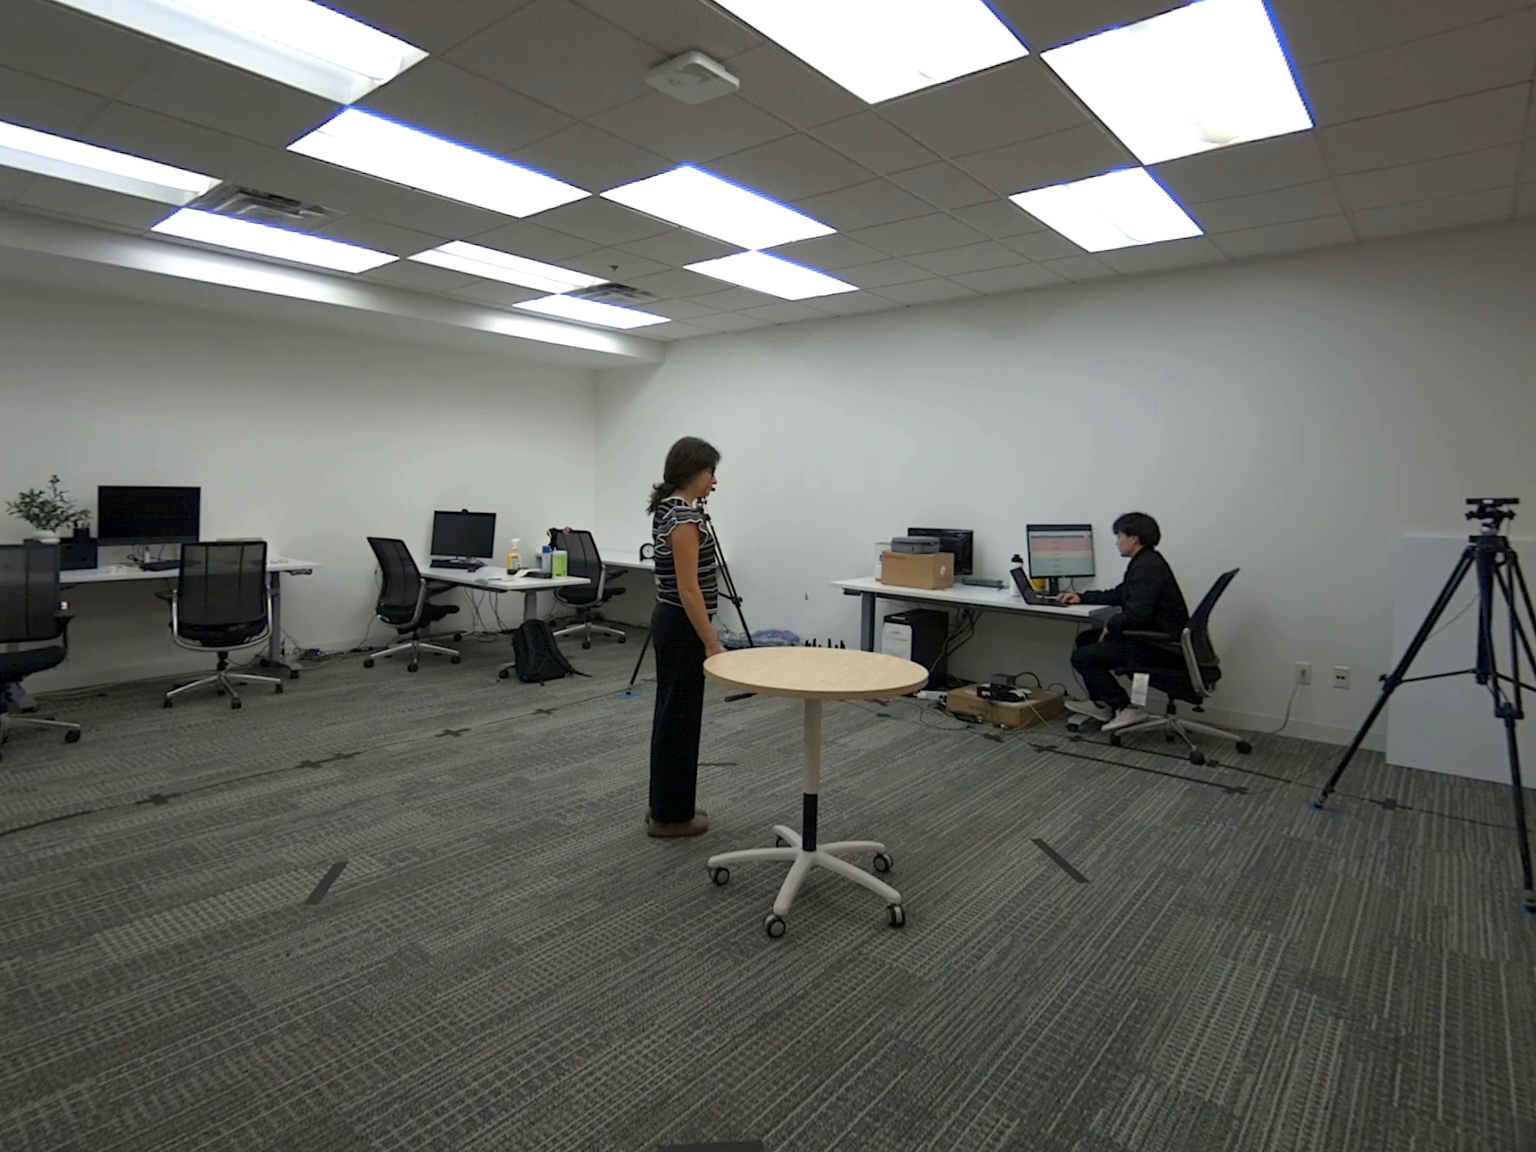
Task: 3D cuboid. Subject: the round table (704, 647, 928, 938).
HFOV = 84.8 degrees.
[{"bbox_3d":[0.147,0.703,2.945,0.763,0.792,0.767,1,4,-2],"label":"round table"}]
